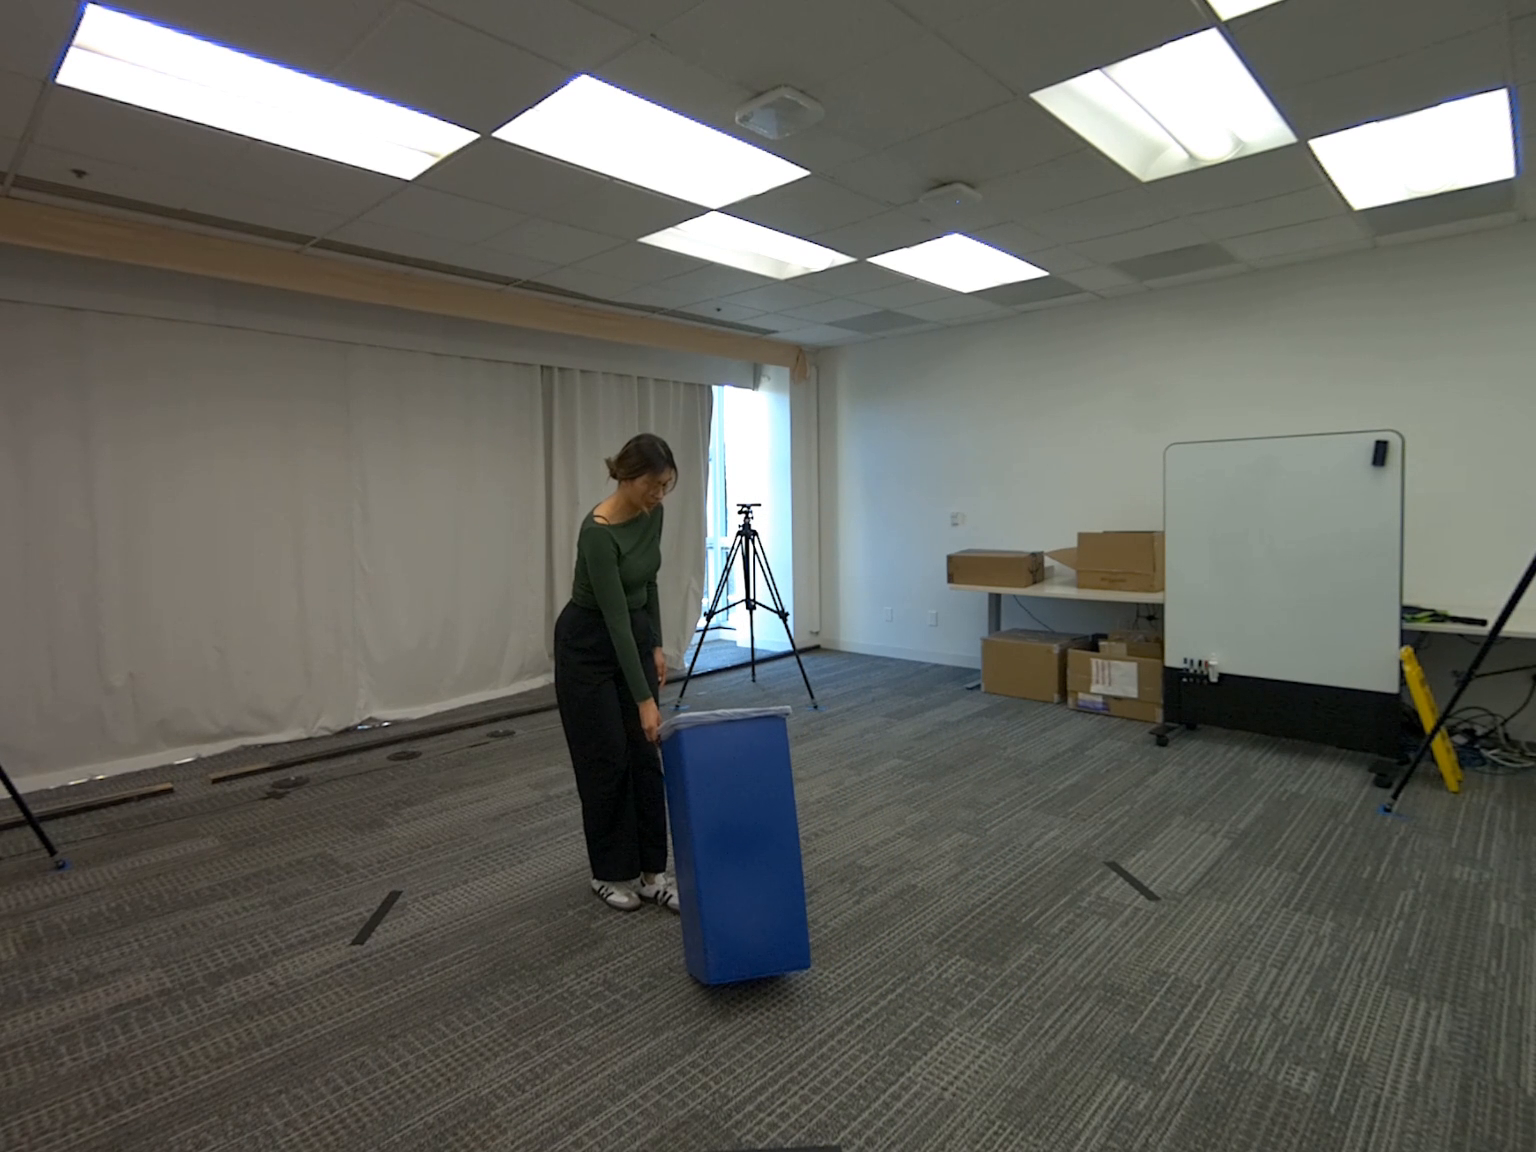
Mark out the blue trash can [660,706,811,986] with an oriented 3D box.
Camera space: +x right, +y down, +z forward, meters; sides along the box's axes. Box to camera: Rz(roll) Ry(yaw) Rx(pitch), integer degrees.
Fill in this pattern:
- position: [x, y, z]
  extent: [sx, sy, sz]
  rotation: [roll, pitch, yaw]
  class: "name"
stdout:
- position: [-0.095, 0.790, 2.522]
  extent: [0.372, 0.723, 0.375]
  rotation: [-2, -18, -17]
  class: "blue trash can"
